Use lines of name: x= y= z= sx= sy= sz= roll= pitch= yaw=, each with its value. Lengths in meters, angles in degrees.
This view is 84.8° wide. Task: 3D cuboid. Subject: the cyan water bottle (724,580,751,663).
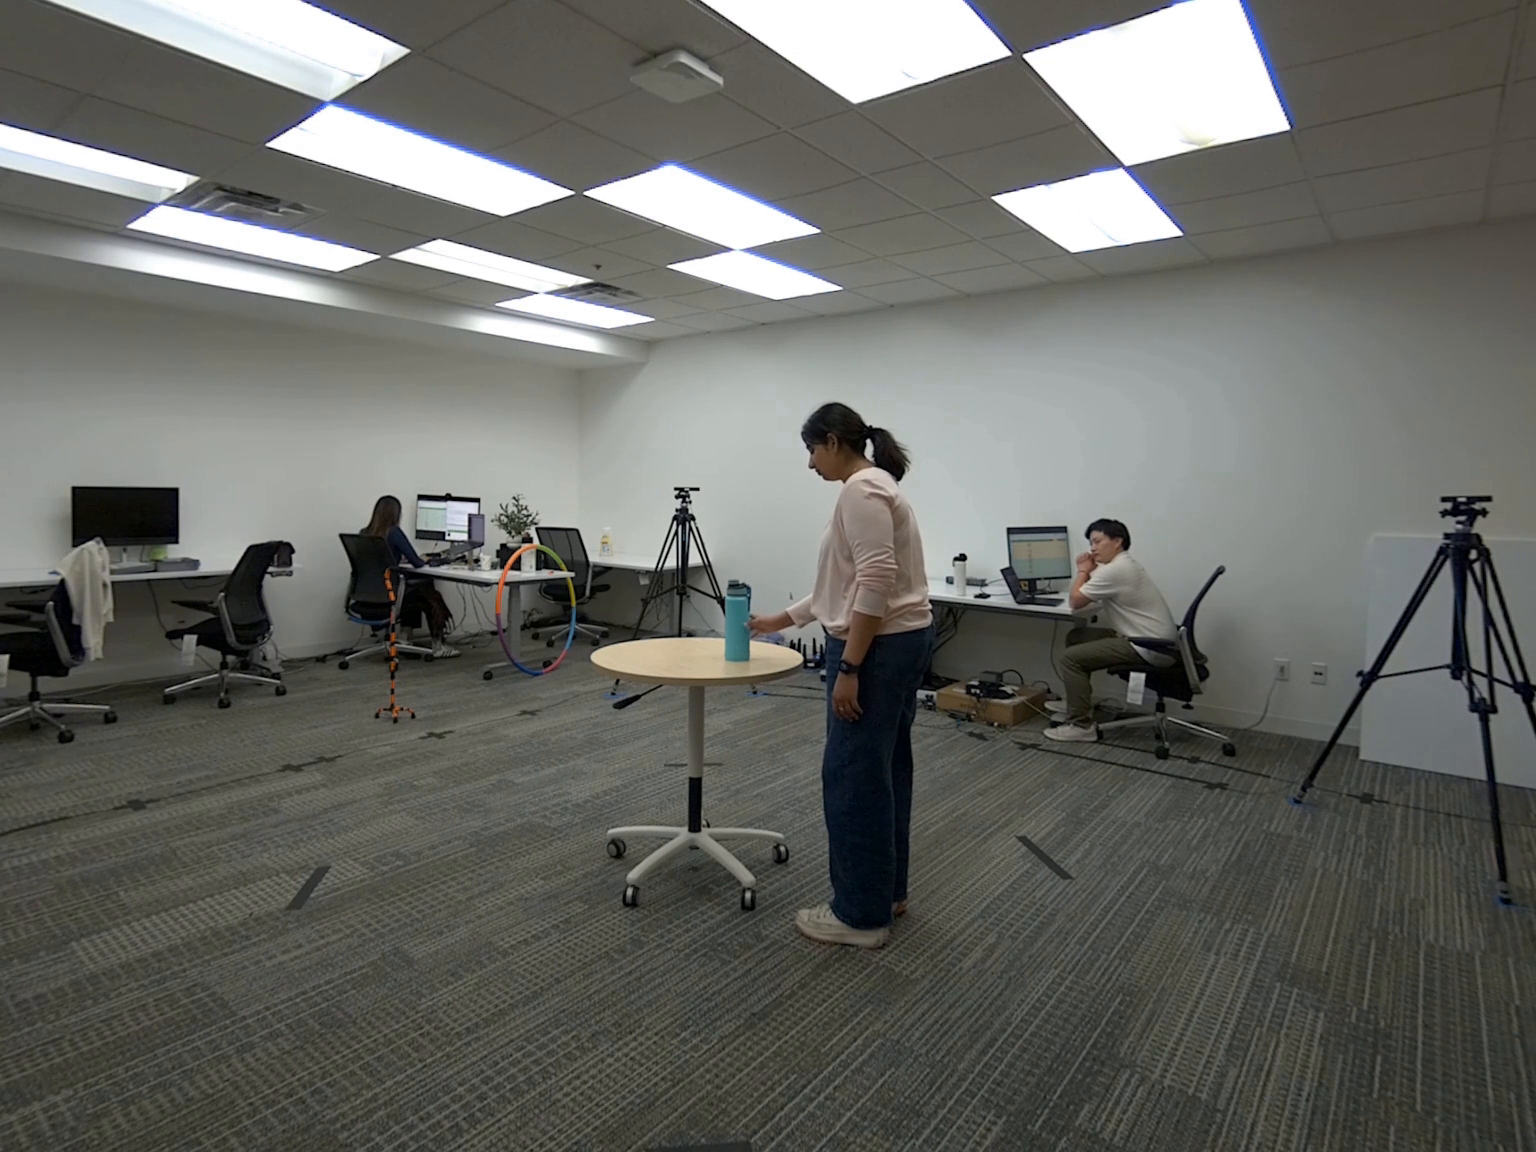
cyan water bottle: x=-0.118 y=0.155 z=3.012 sx=0.092 sy=0.283 sz=0.092 roll=-1 pitch=2 yaw=-2
